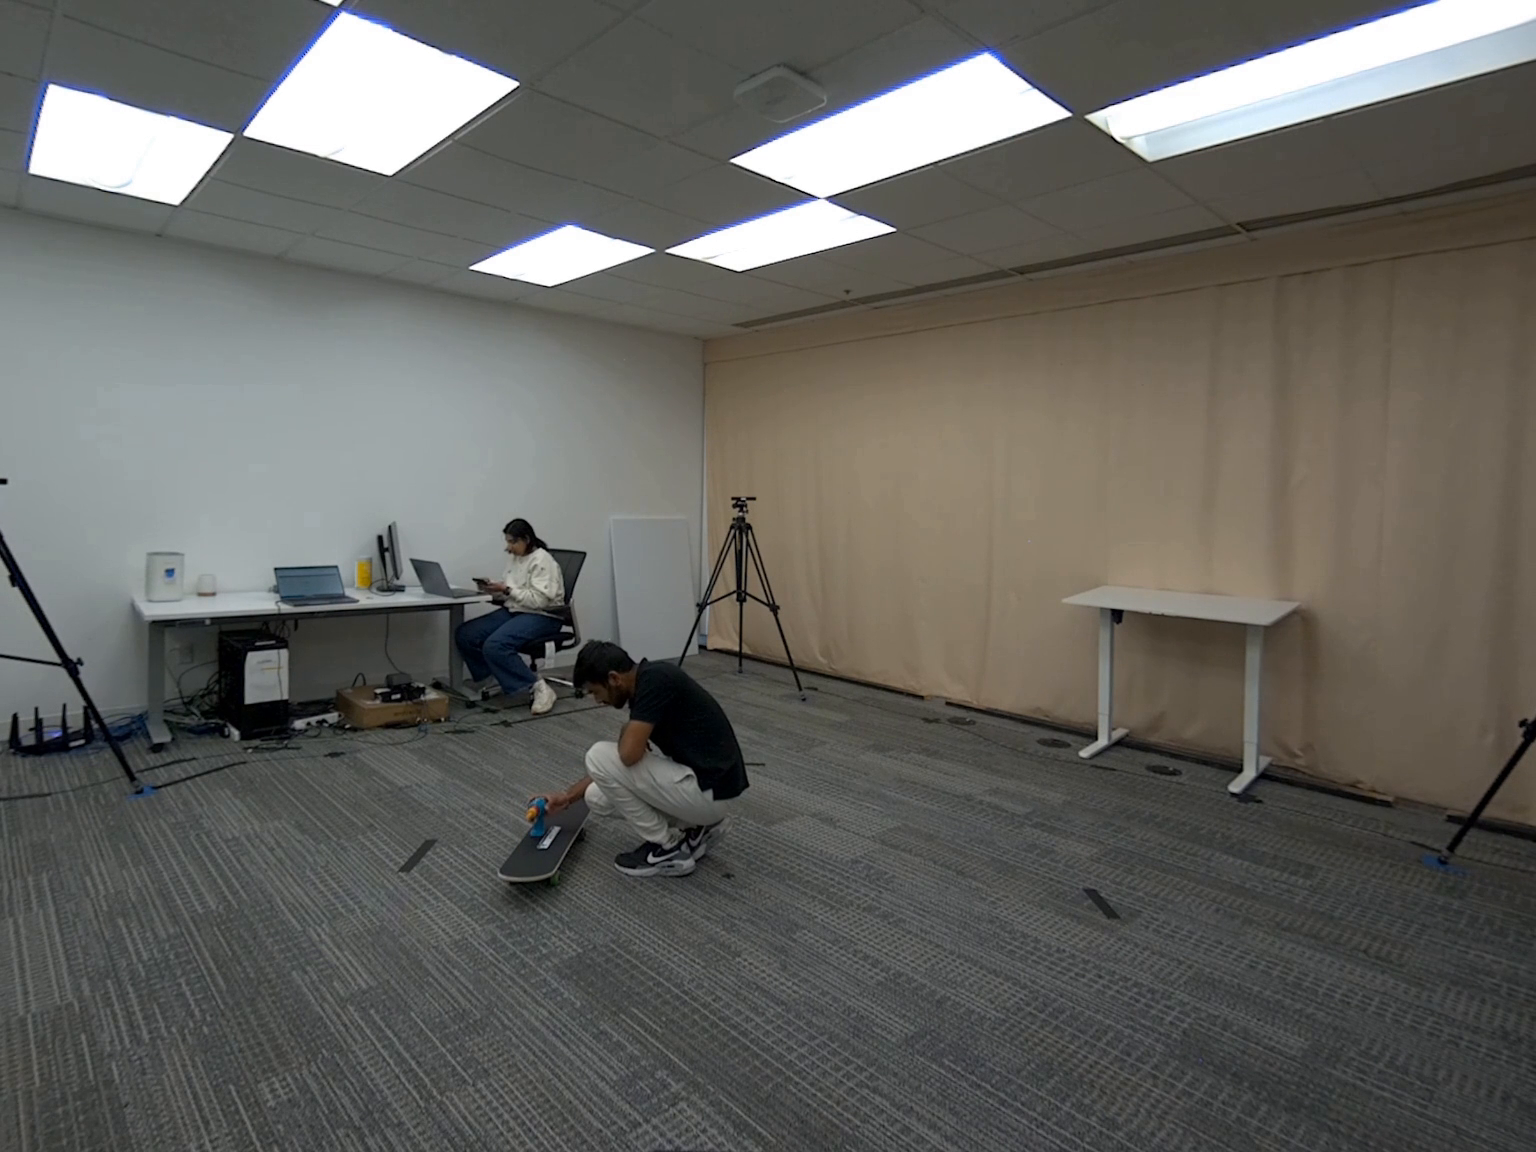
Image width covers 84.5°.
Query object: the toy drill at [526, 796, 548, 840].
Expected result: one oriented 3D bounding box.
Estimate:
[{"bbox_3d":[-0.883,0.915,3.182,0.061,0.145,0.170,2,5,2],"label":"toy drill"}]
